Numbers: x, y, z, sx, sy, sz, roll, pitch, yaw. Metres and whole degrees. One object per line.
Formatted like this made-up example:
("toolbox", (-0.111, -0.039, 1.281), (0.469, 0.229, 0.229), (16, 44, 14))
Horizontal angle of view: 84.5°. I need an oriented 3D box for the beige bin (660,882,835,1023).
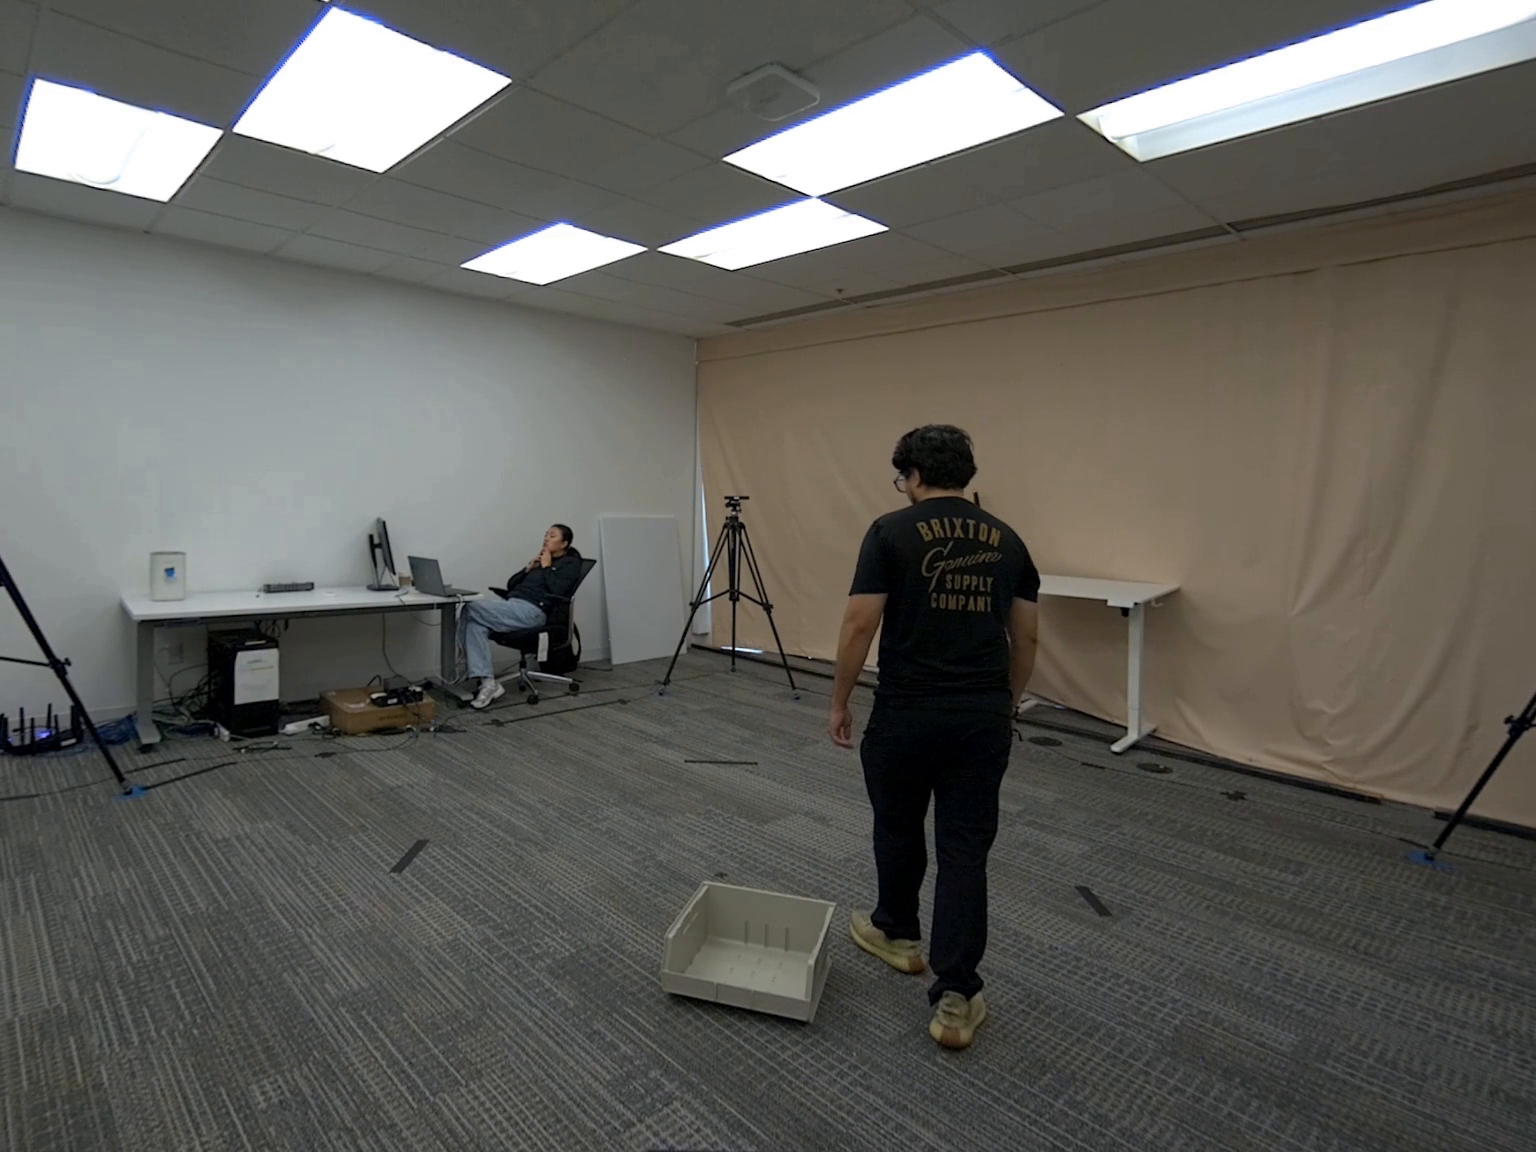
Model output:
("beige bin", (-0.049, 1.083, 2.416), (0.428, 0.188, 0.373), (3, 4, 15))
